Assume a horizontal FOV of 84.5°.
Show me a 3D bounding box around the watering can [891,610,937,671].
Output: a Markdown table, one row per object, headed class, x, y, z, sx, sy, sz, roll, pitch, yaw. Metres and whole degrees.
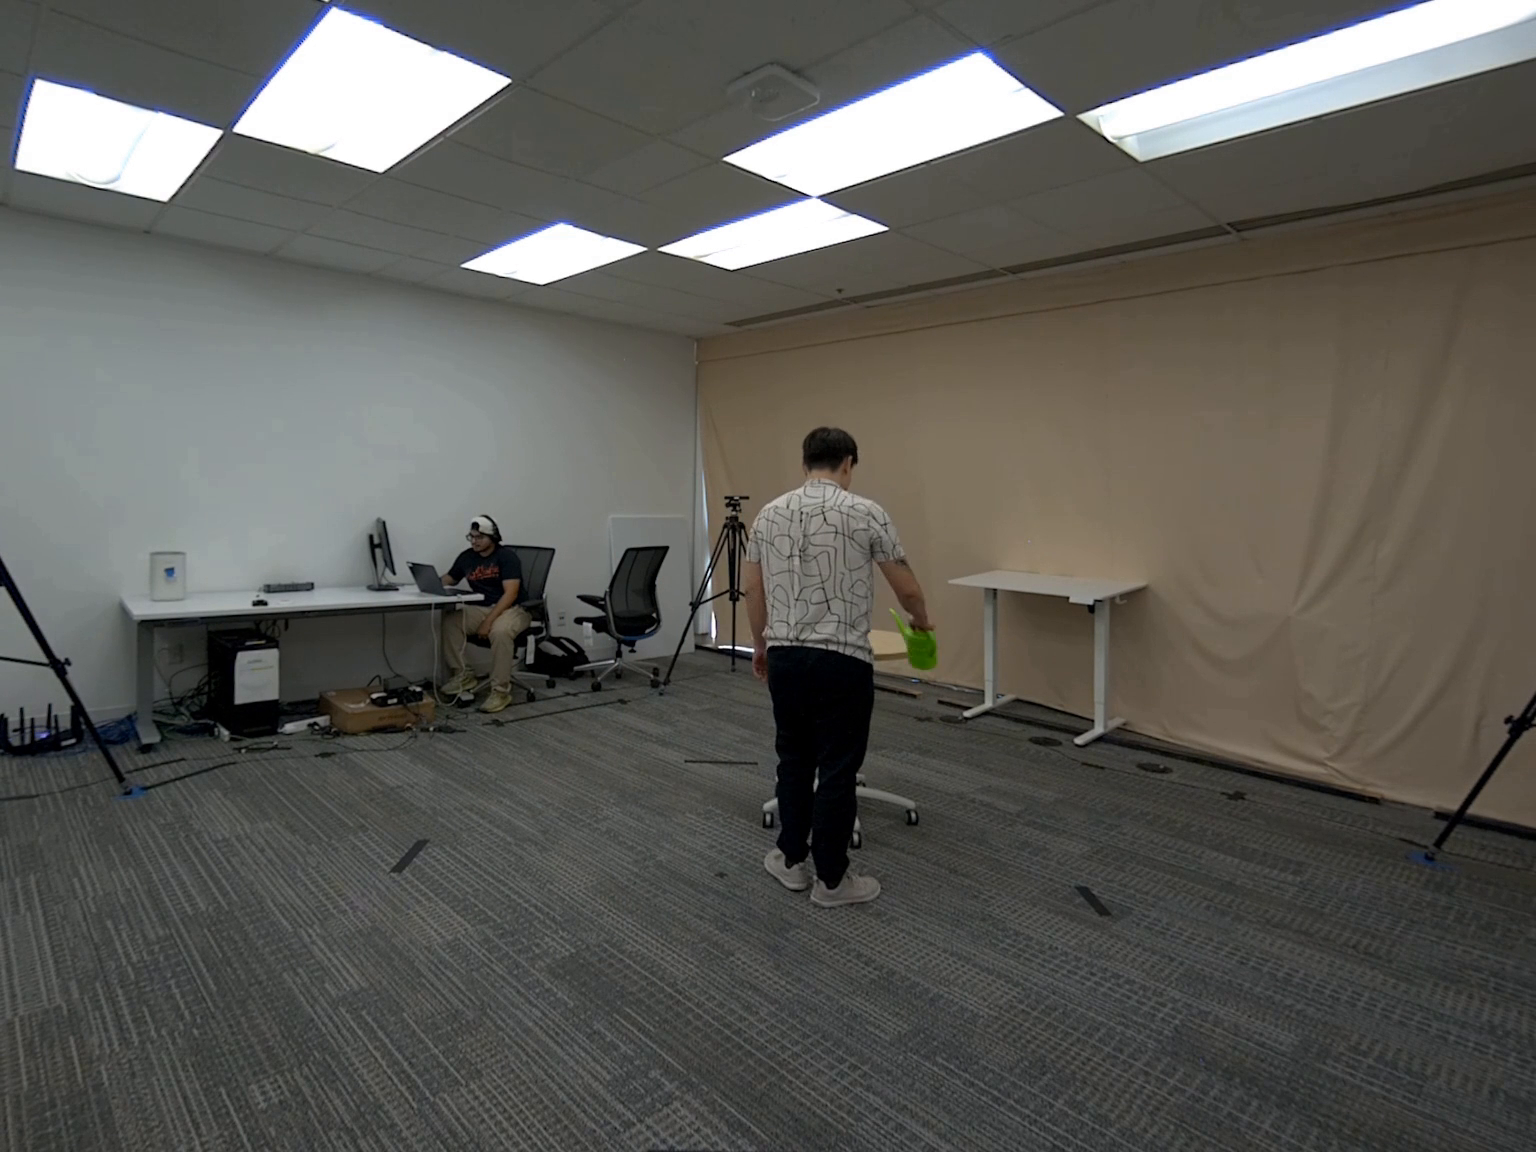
| class | x | y | z | sx | sy | sz | roll | pitch | yaw |
| --- | --- | --- | --- | --- | --- | --- | --- | --- | --- |
| watering can | 0.531 | 0.243 | 3.195 | 0.097 | 0.174 | 0.283 | -8 | 17 | -9 |
